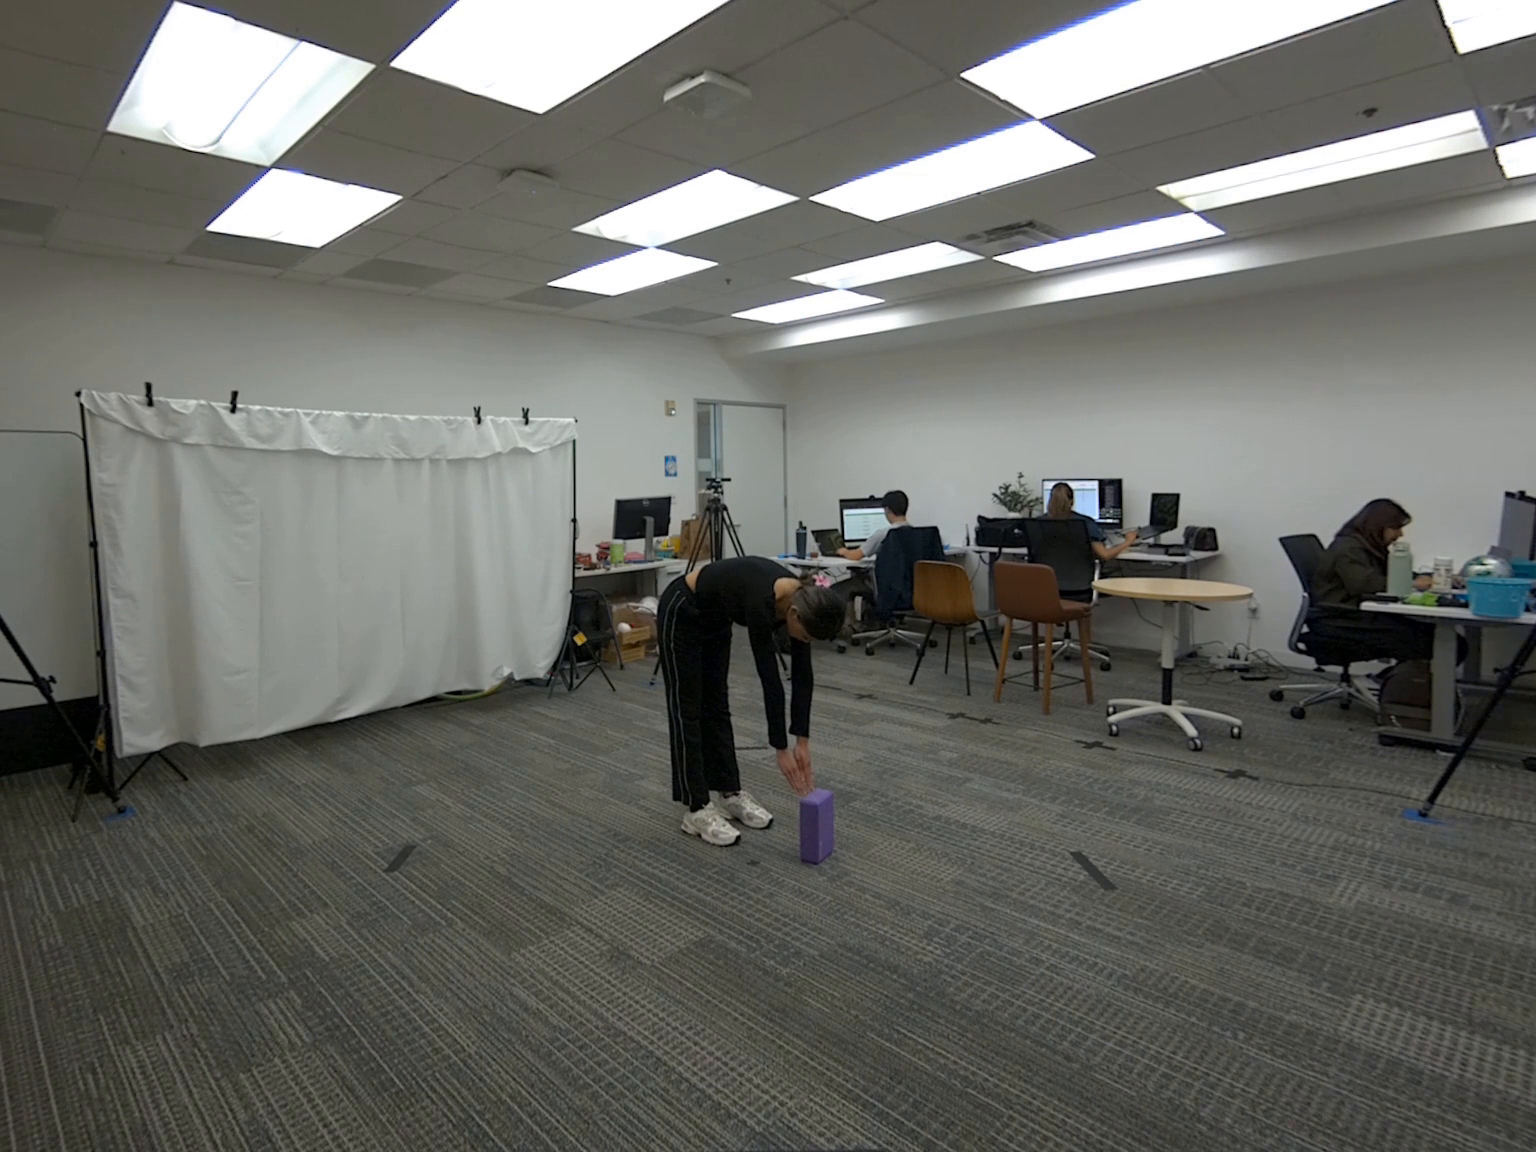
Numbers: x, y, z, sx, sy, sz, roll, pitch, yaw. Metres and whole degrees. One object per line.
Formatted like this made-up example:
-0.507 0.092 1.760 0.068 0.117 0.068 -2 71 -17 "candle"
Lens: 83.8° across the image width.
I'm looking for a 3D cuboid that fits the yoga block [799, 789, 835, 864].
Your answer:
0.182 0.918 3.149 0.078 0.229 0.146 0 4 28 "yoga block"
